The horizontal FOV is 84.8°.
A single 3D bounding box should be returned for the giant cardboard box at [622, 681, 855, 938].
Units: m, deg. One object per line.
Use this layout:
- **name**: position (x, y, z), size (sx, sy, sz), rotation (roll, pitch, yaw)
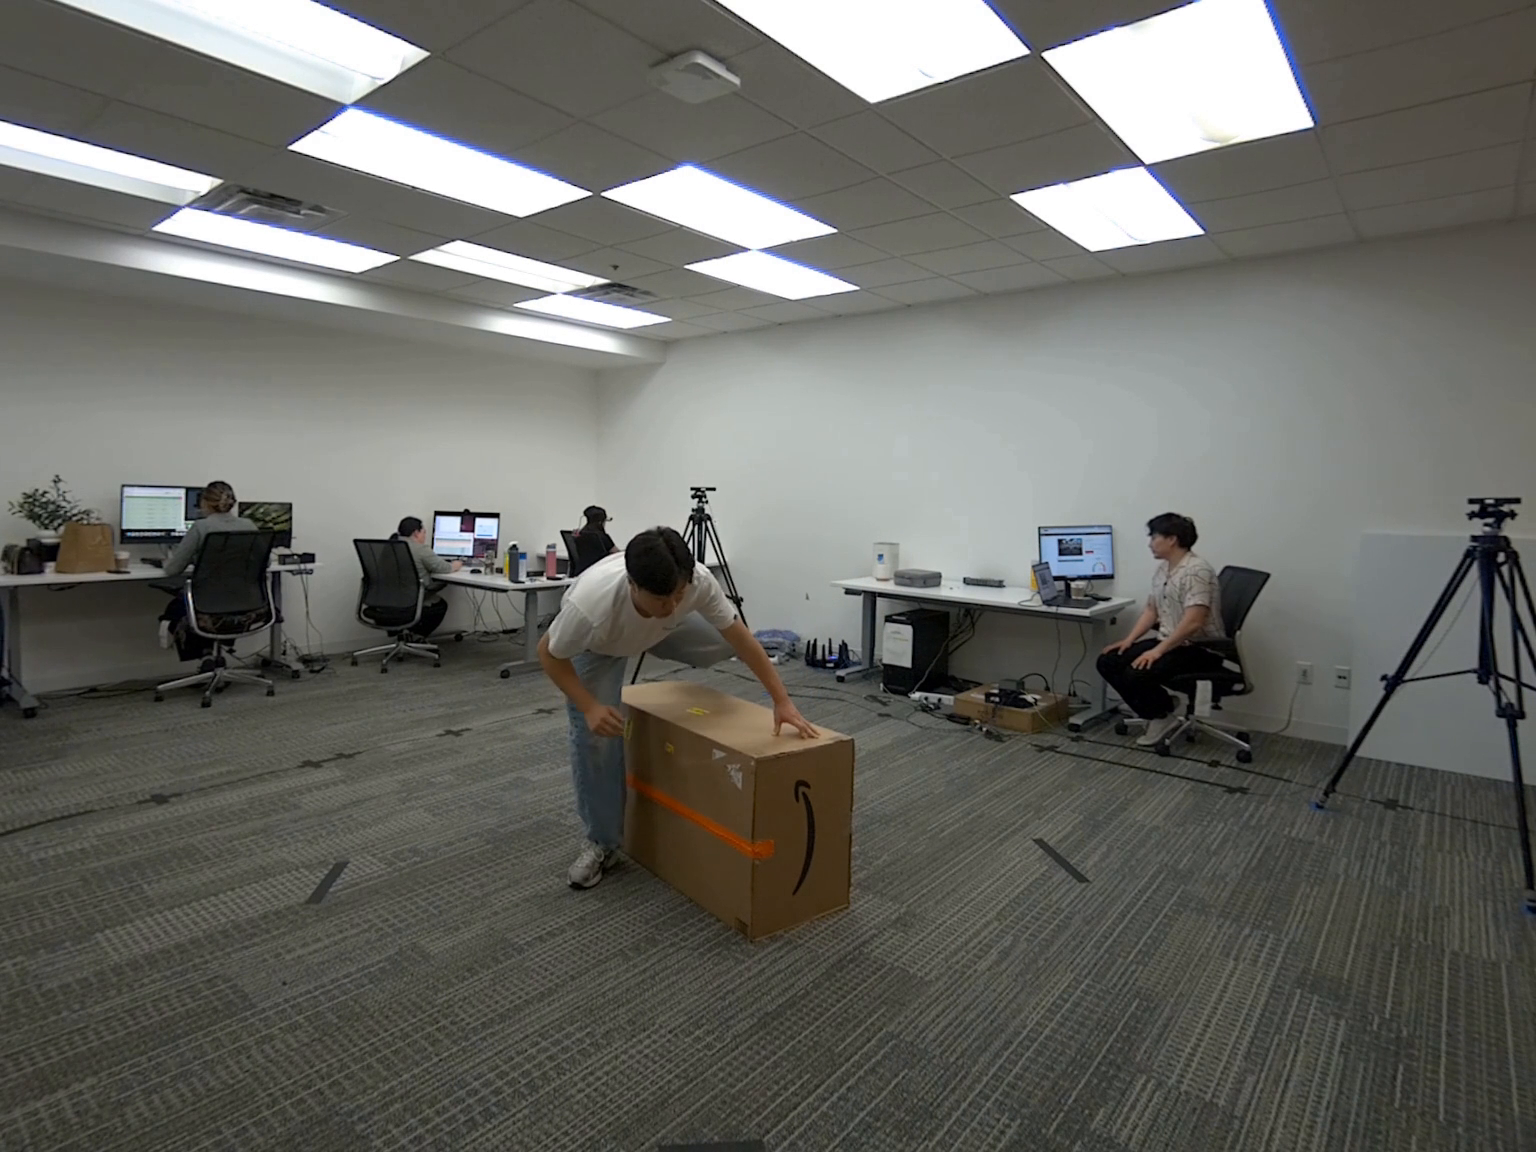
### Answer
- **giant cardboard box**: position (-0.212, 0.780, 3.114), size (0.413, 0.576, 1.060), rotation (-1, 5, -38)
